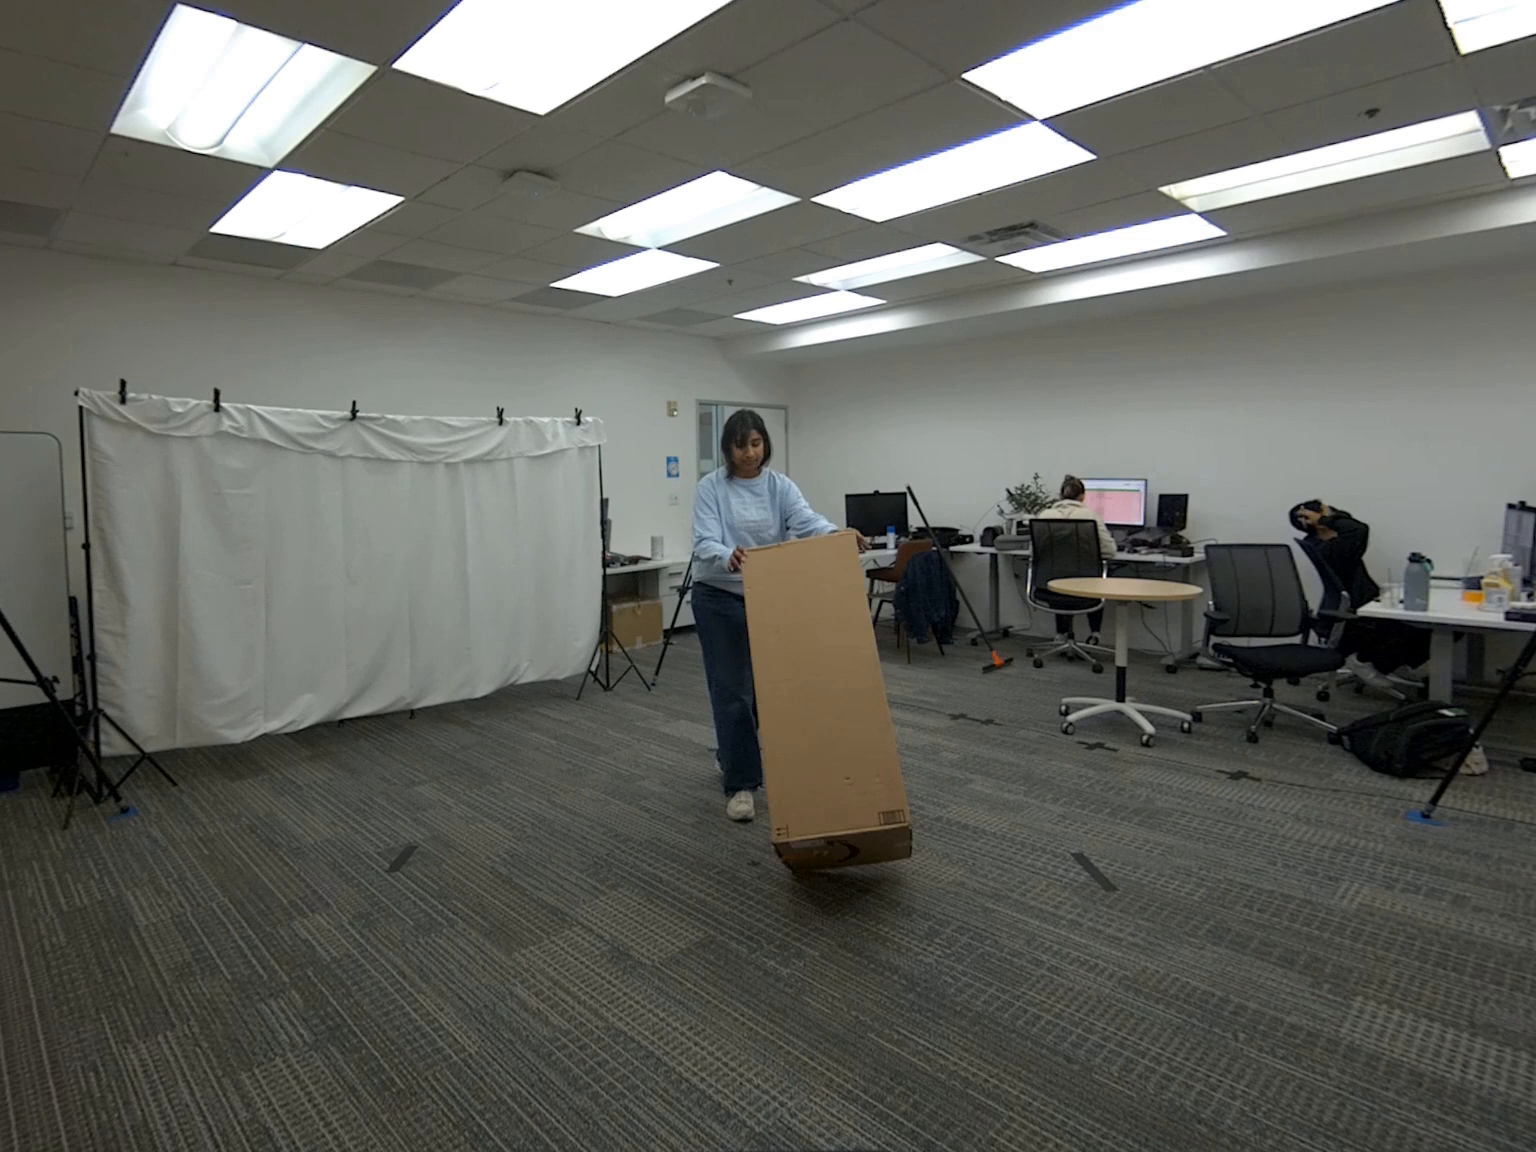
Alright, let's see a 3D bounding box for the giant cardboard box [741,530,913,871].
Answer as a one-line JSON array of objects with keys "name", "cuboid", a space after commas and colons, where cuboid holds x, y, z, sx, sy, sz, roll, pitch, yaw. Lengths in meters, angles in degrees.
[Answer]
[{"name": "giant cardboard box", "cuboid": [0.198, 0.456, 3.049, 0.449, 1.054, 0.566, -9, -30, 5]}]
